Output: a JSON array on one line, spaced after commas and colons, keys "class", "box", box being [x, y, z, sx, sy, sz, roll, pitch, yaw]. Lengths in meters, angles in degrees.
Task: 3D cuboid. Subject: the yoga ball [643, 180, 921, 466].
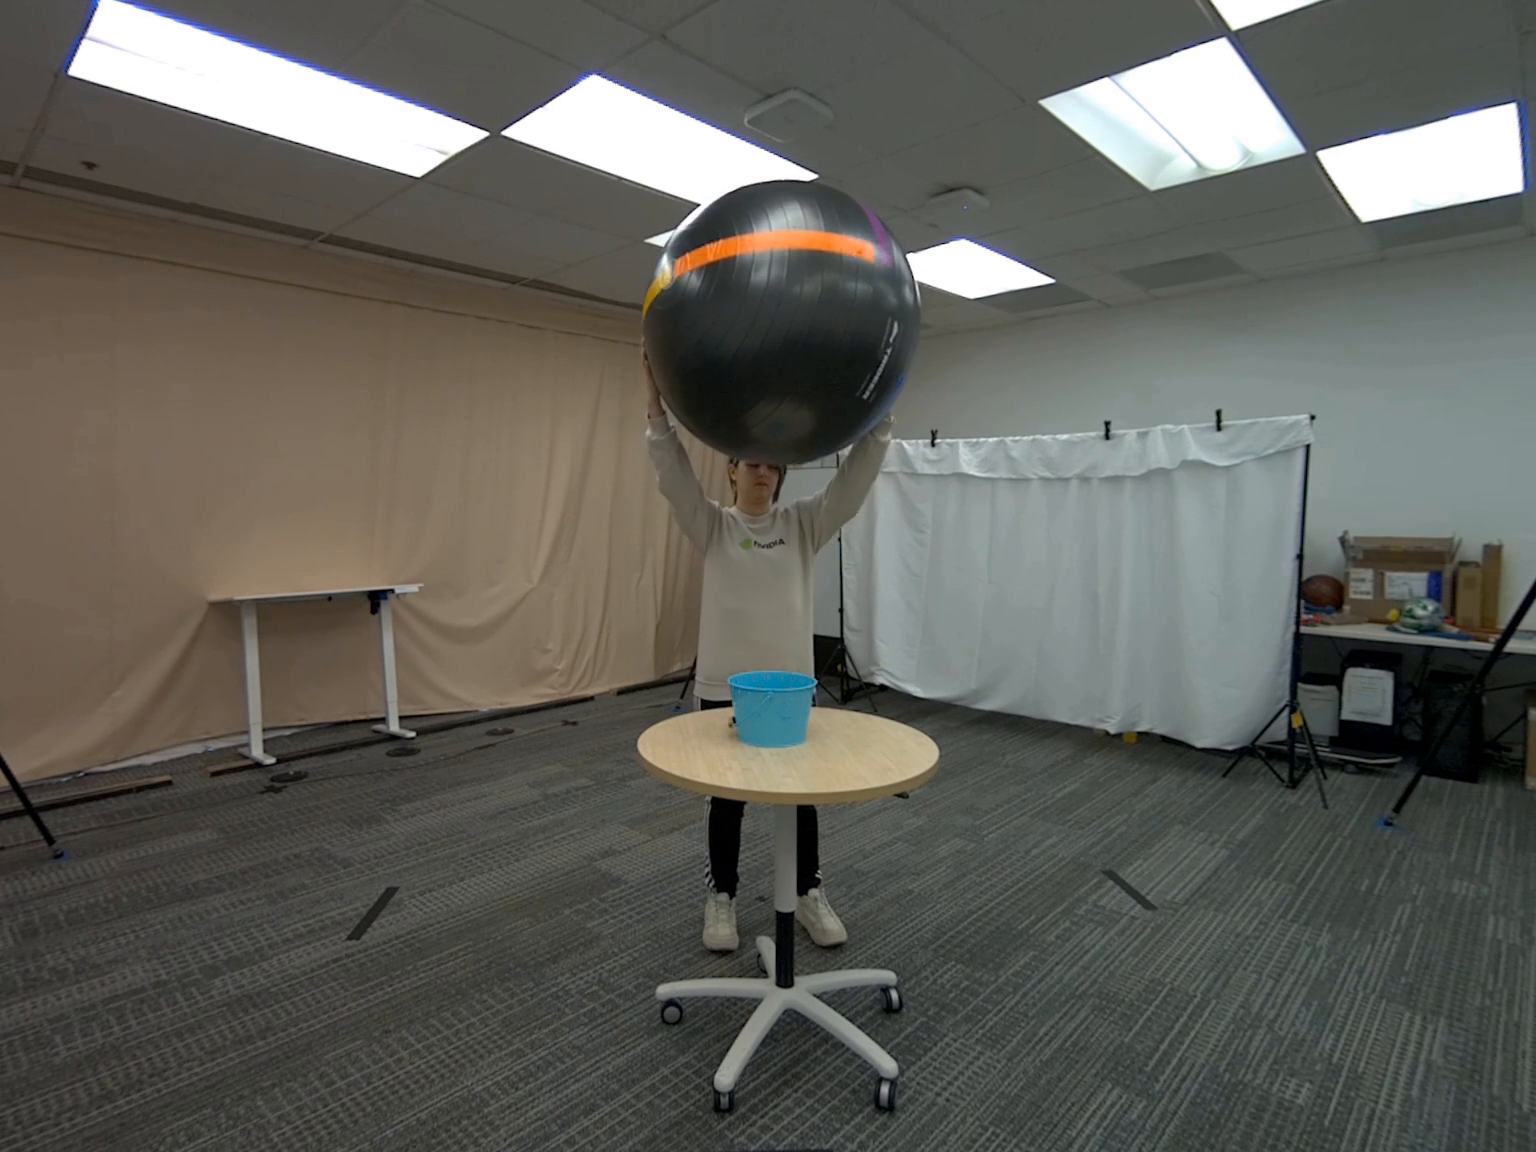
[{"class": "yoga ball", "box": [0.030, -0.673, 2.319, 0.757, 0.756, 0.761, 0, 4, -2]}]
